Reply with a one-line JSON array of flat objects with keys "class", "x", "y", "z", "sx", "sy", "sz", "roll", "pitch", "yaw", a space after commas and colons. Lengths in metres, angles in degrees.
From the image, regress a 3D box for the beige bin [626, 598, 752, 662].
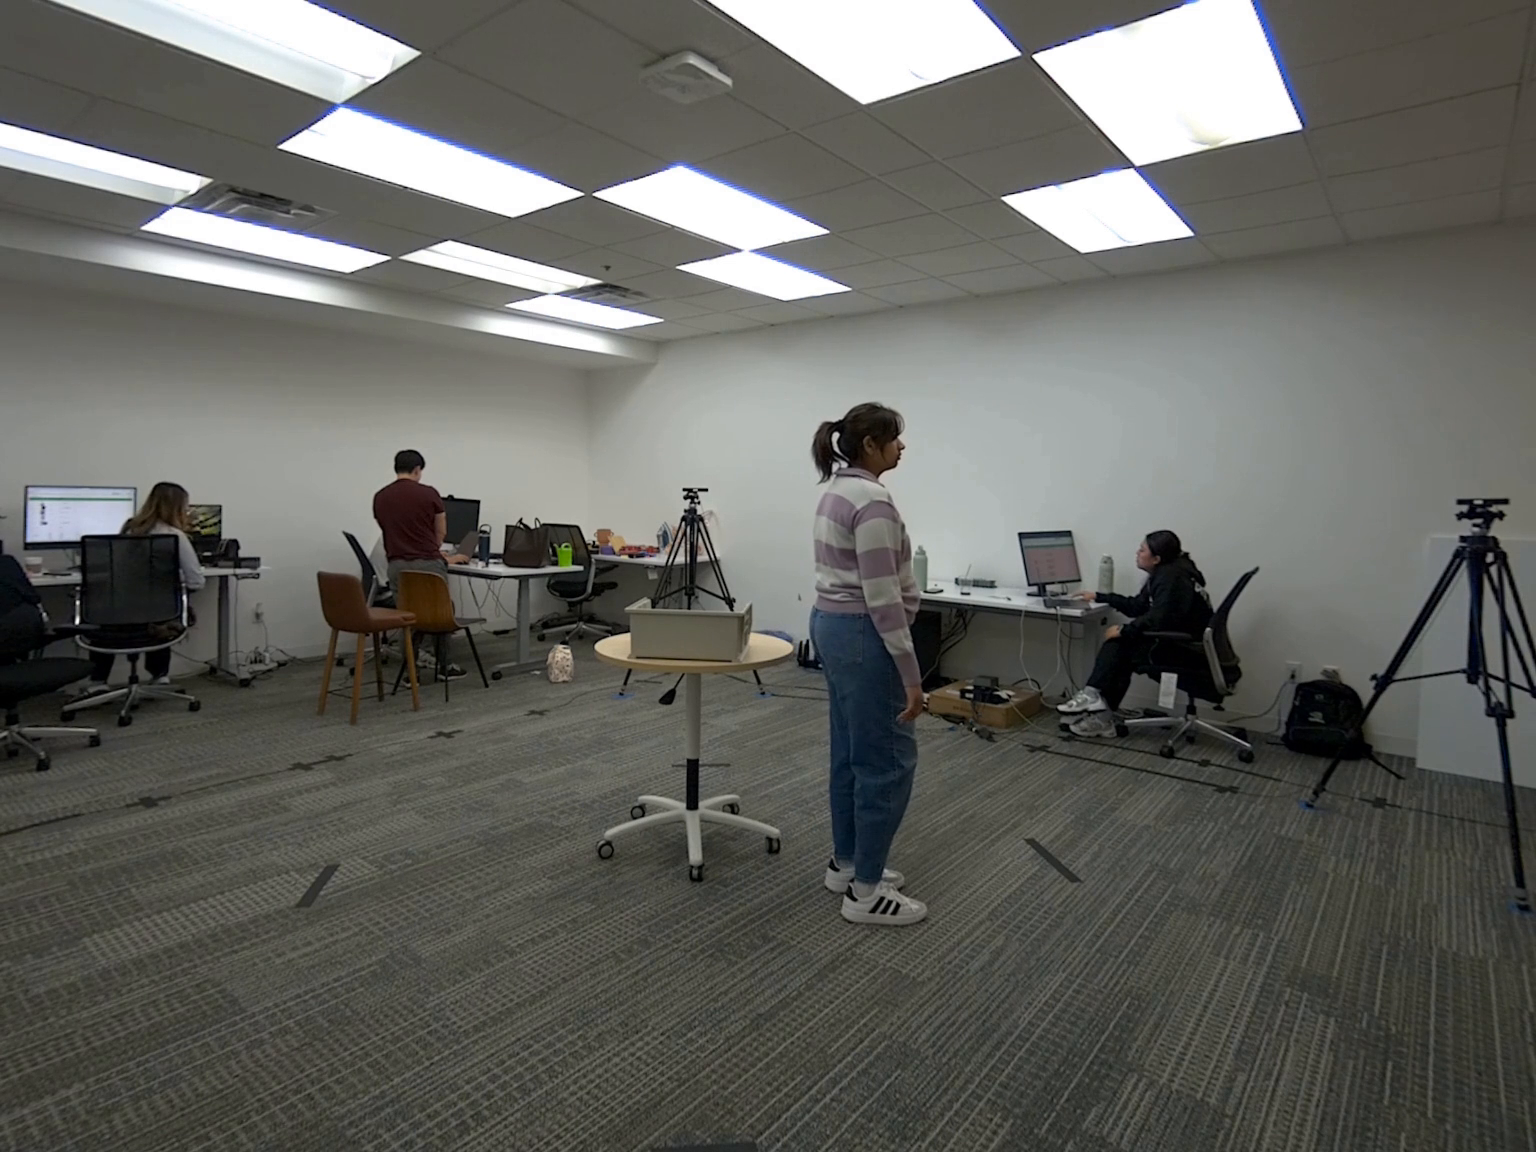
[{"class": "beige bin", "x": -0.292, "y": 0.188, "z": 3.167, "sx": 0.426, "sy": 0.188, "sz": 0.376, "roll": 1, "pitch": 6, "yaw": 6}]
